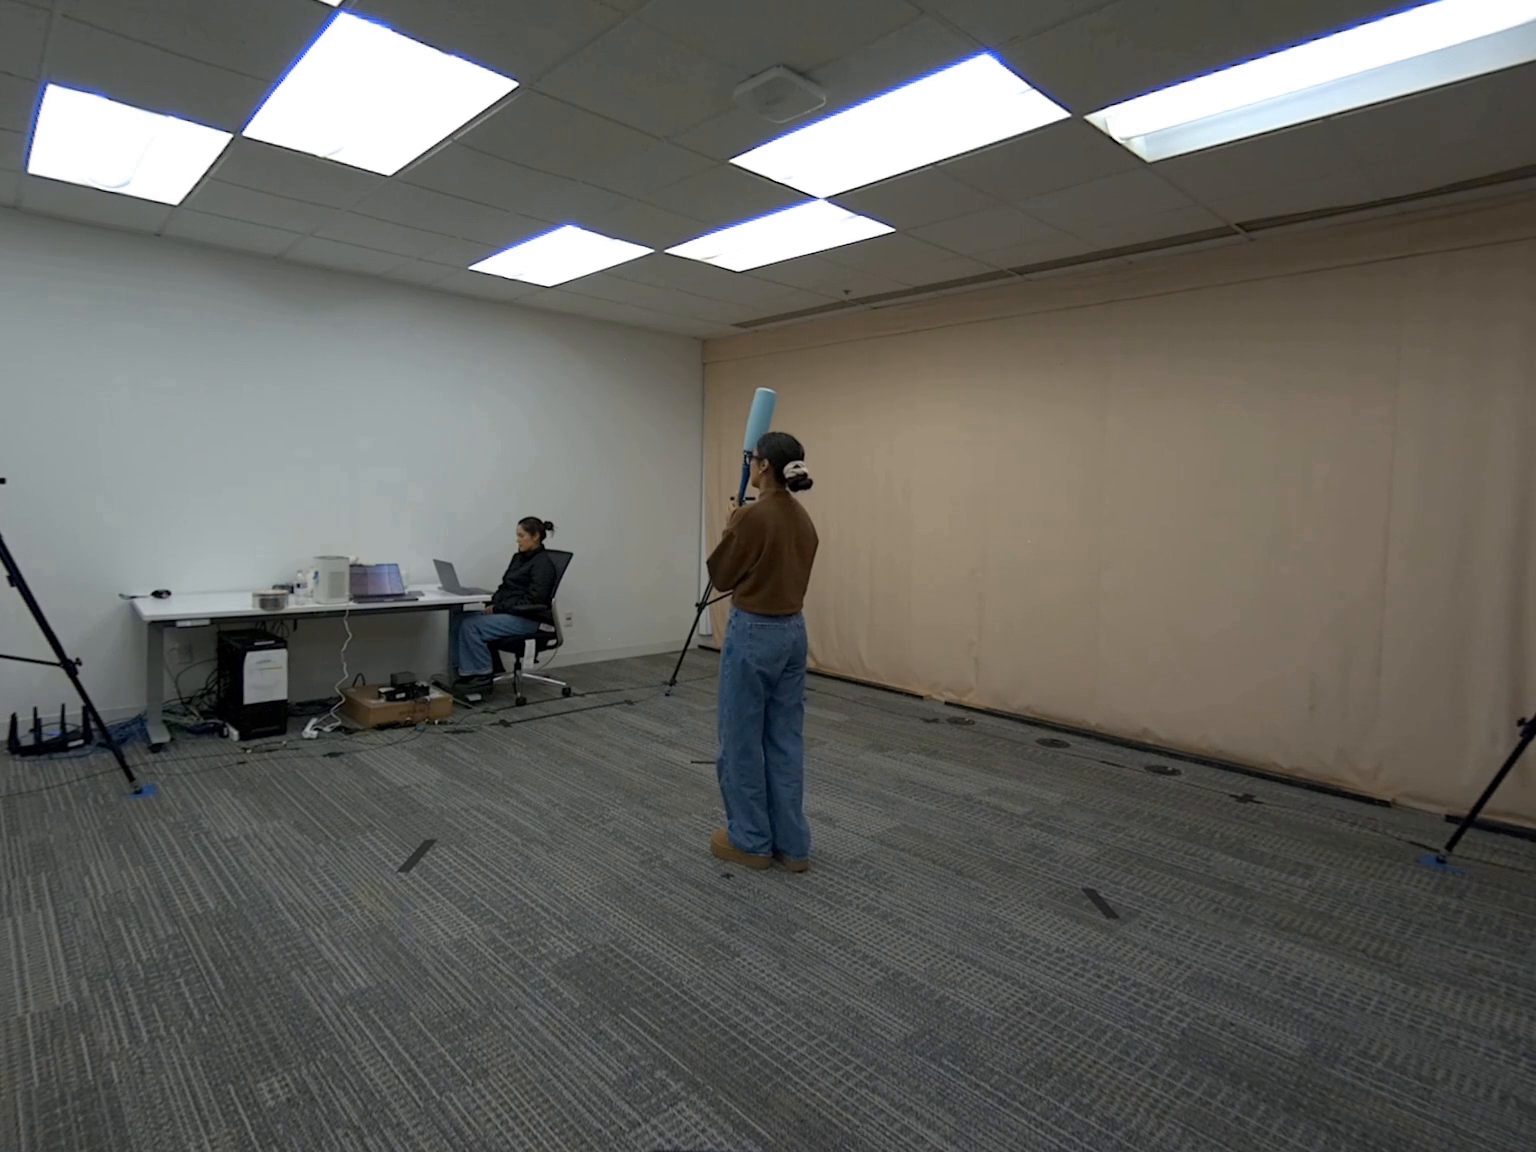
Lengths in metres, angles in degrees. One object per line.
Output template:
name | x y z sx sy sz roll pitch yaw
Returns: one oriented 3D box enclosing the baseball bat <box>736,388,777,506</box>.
baseball bat | -0.077 -0.469 3.304 0.089 0.542 0.089 12 3 -2
